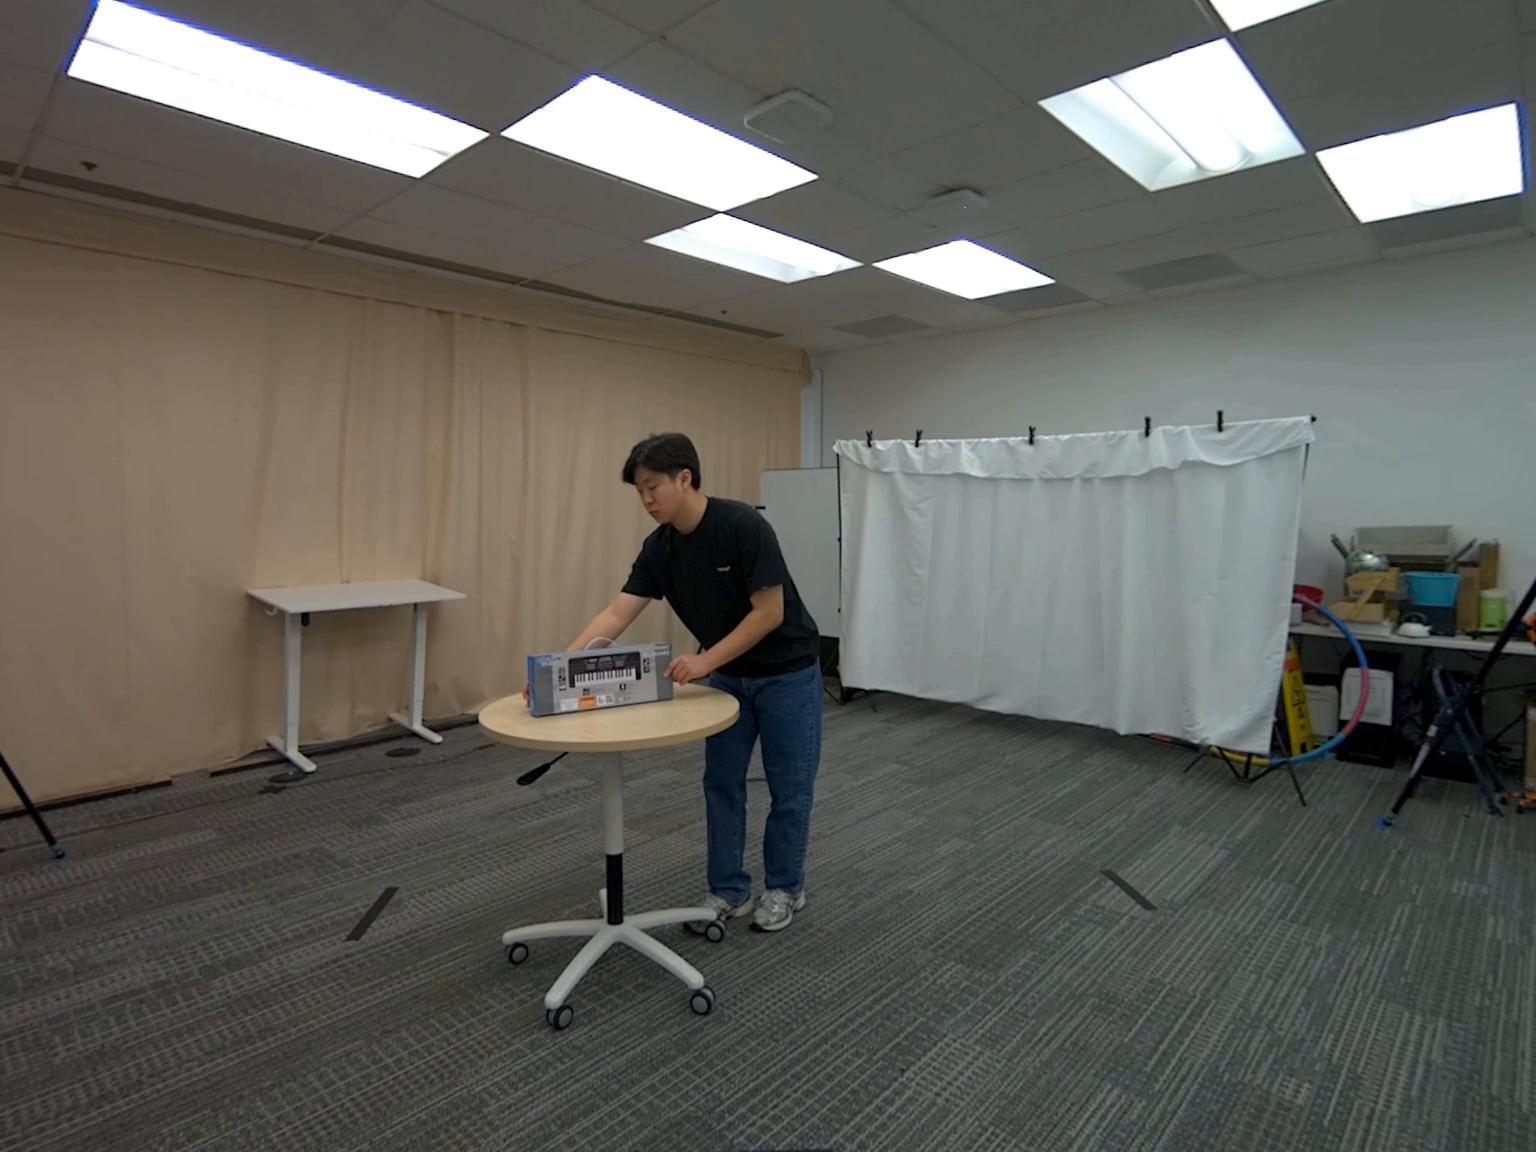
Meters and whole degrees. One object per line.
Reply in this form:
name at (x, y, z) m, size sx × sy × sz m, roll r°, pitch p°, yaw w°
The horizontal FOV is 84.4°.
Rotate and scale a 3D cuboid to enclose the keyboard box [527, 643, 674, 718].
keyboard box at (-0.506, 0.309, 2.506) m, size 0.425 × 0.176 × 0.060 m, roll -3°, pitch -2°, yaw -29°
